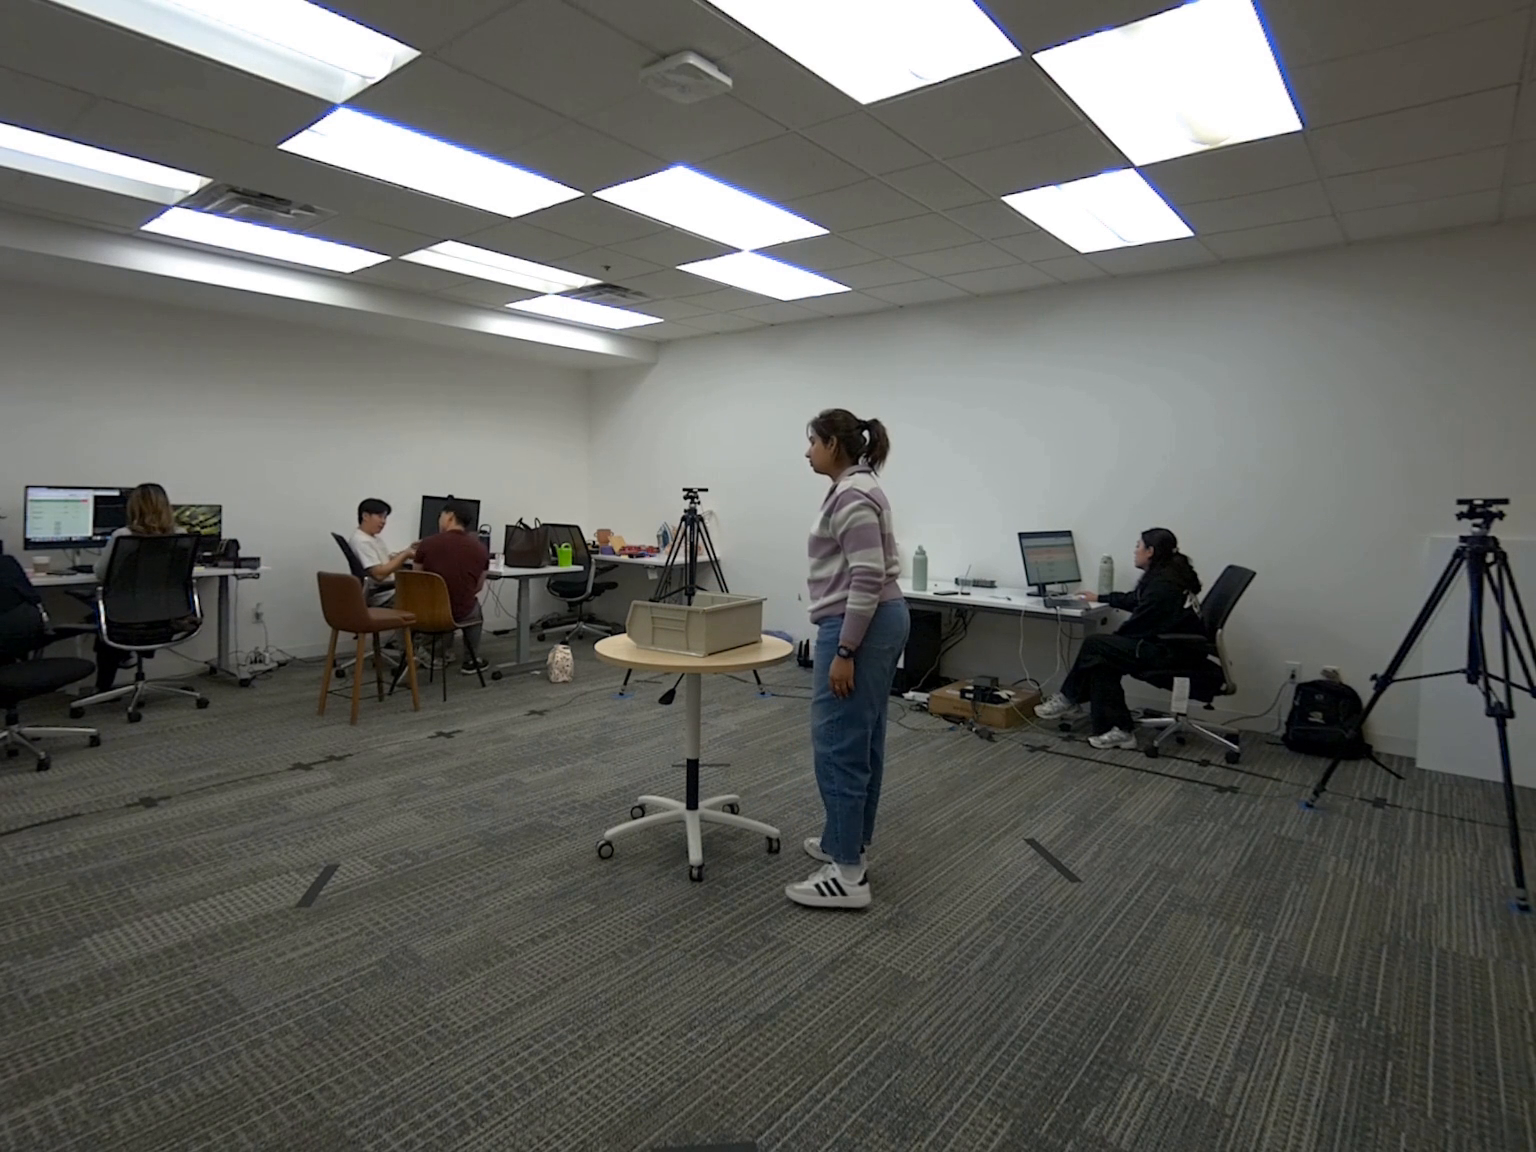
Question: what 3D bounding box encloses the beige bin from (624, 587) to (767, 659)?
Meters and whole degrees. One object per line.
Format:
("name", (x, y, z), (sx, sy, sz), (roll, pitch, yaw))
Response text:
("beige bin", (-0.283, 0.172, 3.316), (0.389, 0.188, 0.411), (6, 7, 32))
